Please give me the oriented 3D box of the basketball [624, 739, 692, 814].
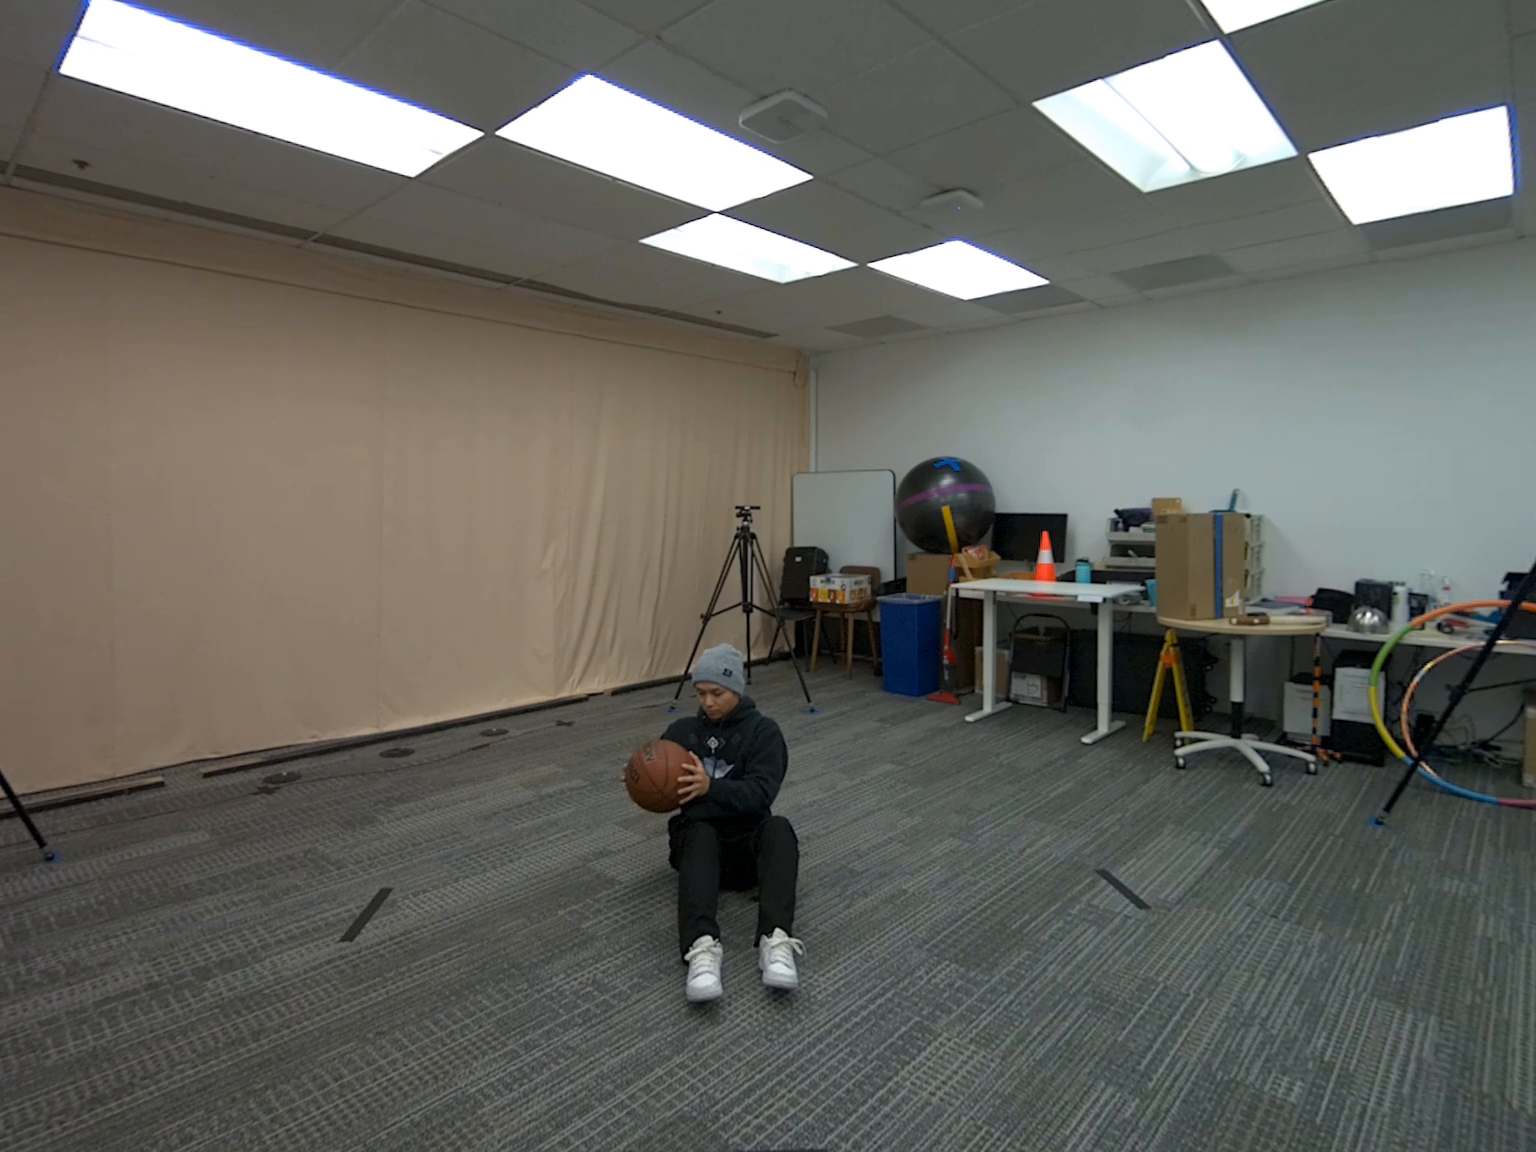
[{"bbox_3d":[-0.355,0.674,2.837,0.236,0.235,0.237,0,4,-2],"label":"basketball"}]
